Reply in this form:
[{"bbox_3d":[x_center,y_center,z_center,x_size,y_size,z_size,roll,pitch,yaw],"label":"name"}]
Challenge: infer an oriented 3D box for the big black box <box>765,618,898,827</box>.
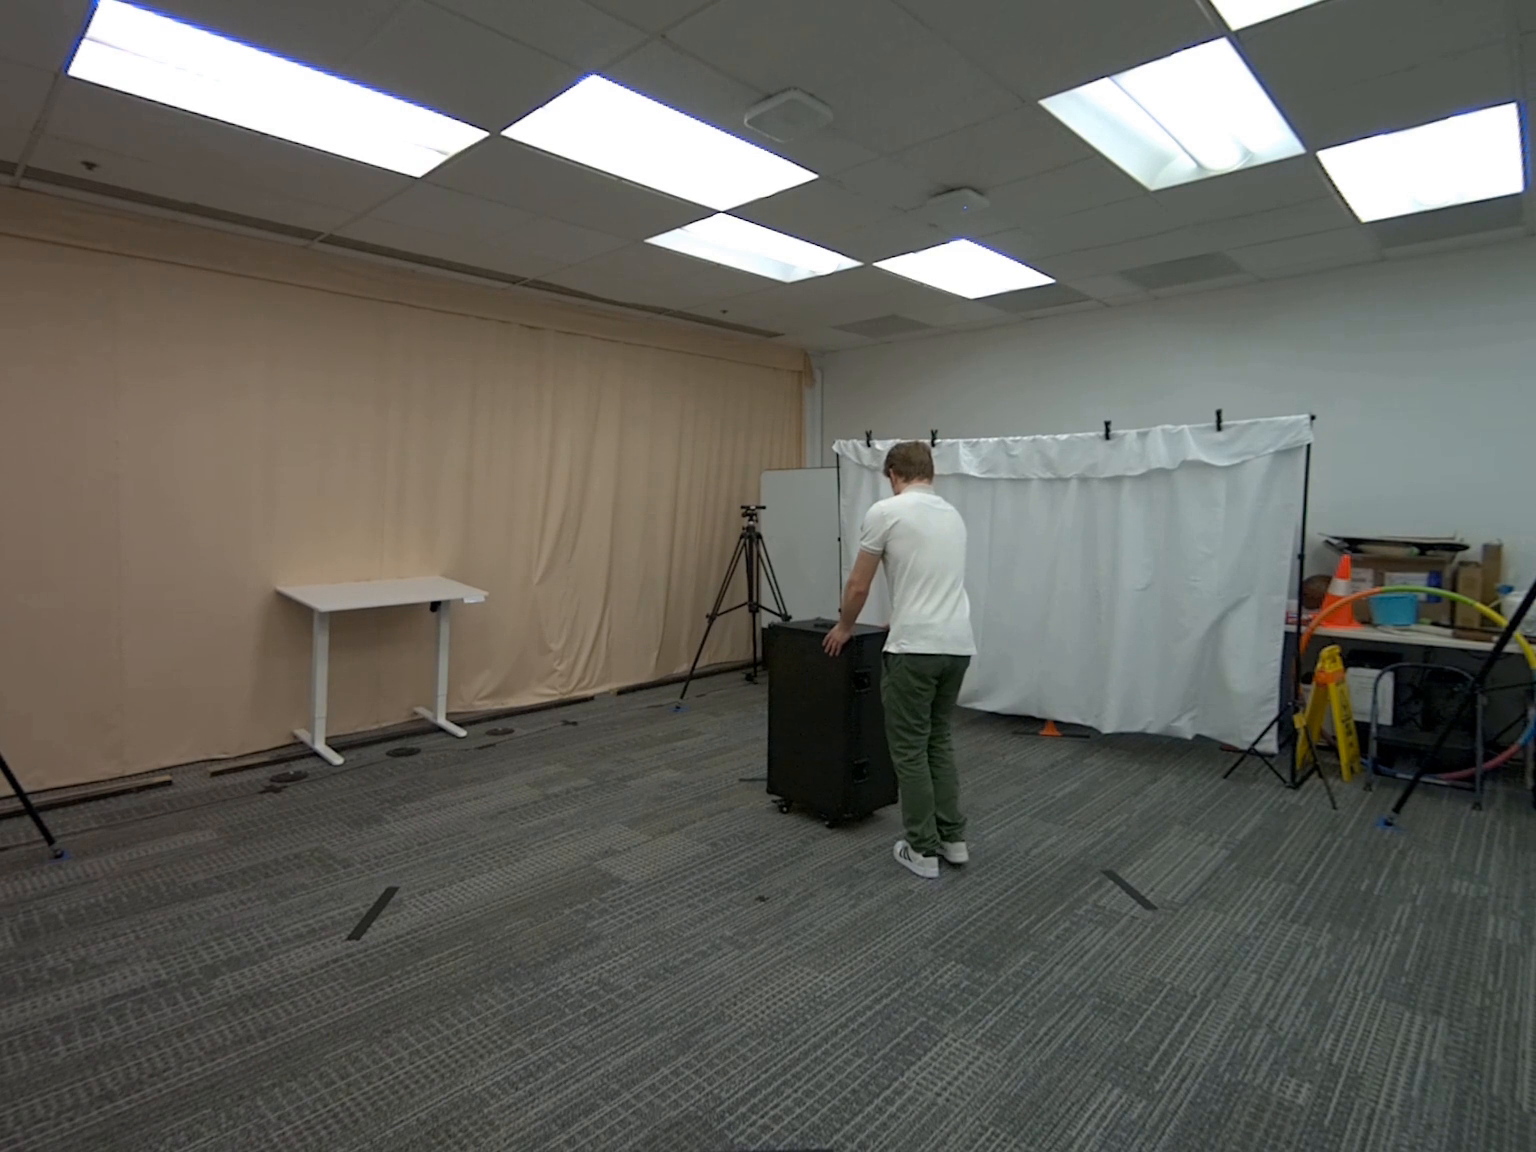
[{"bbox_3d":[0.284,0.651,3.809,0.373,0.867,0.541,-2,4,-44],"label":"big black box"}]
